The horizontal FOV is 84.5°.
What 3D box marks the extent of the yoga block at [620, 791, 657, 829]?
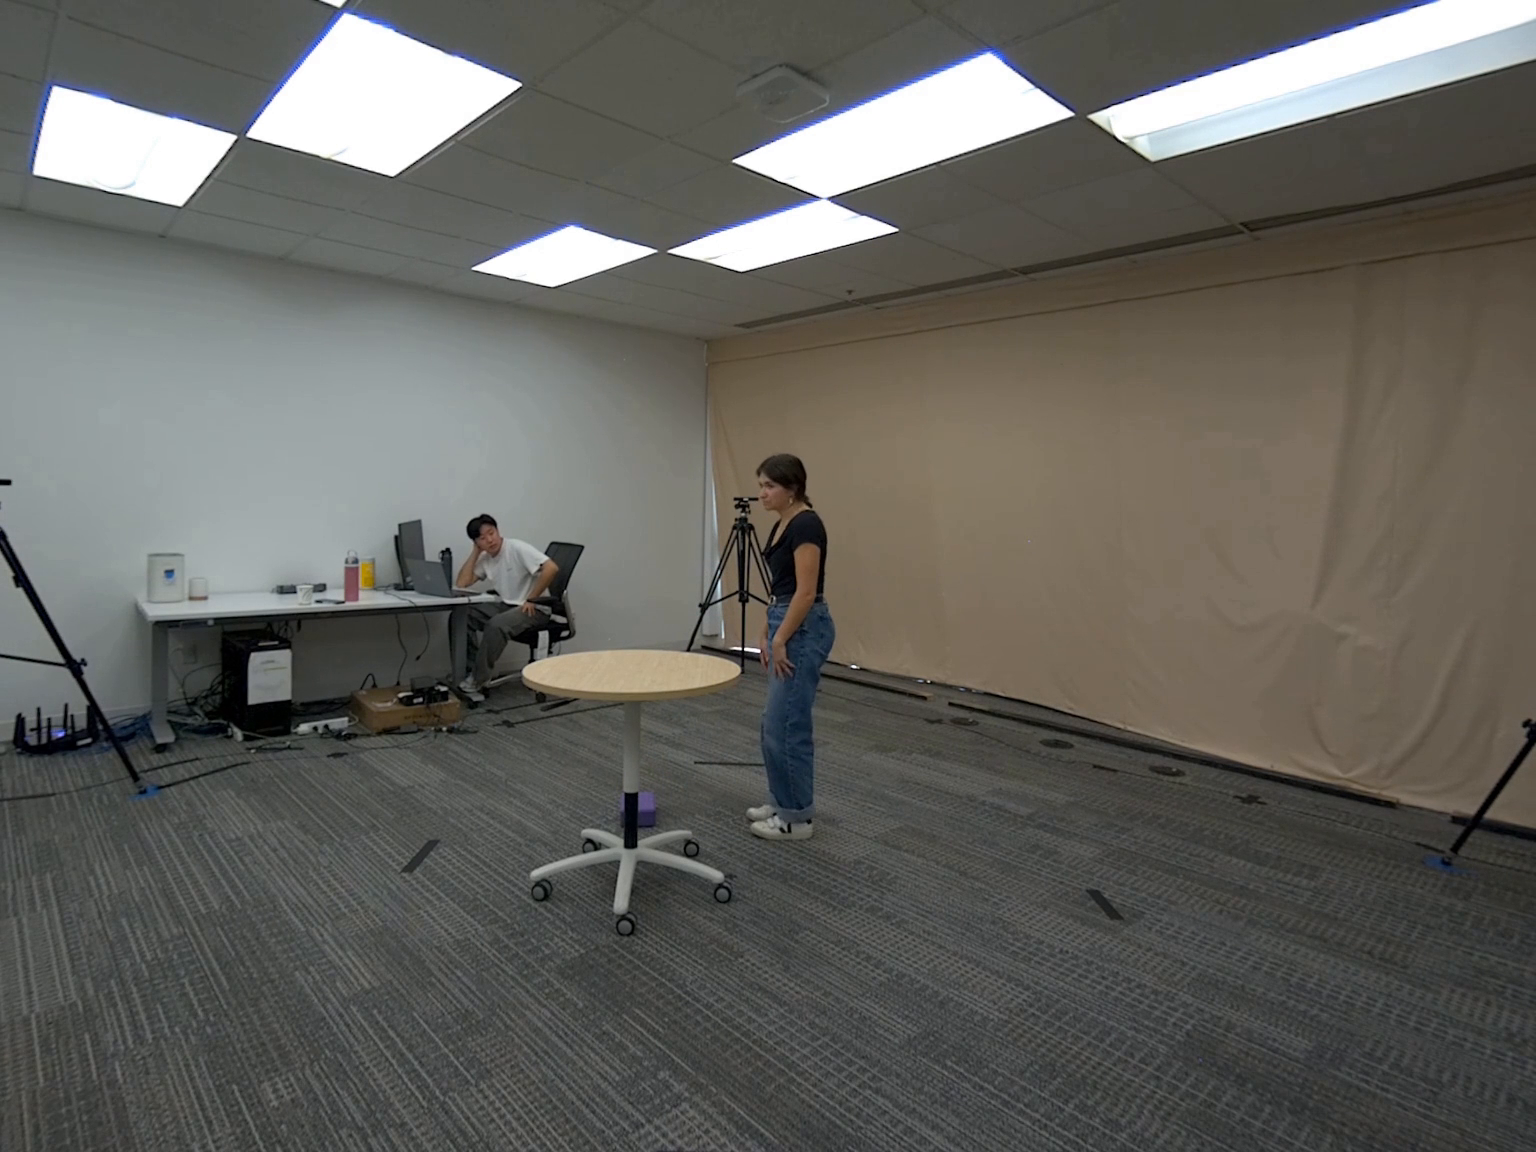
[{"bbox_3d":[-0.570,1.008,3.653,0.148,0.076,0.232,1,7,-8],"label":"yoga block"}]
